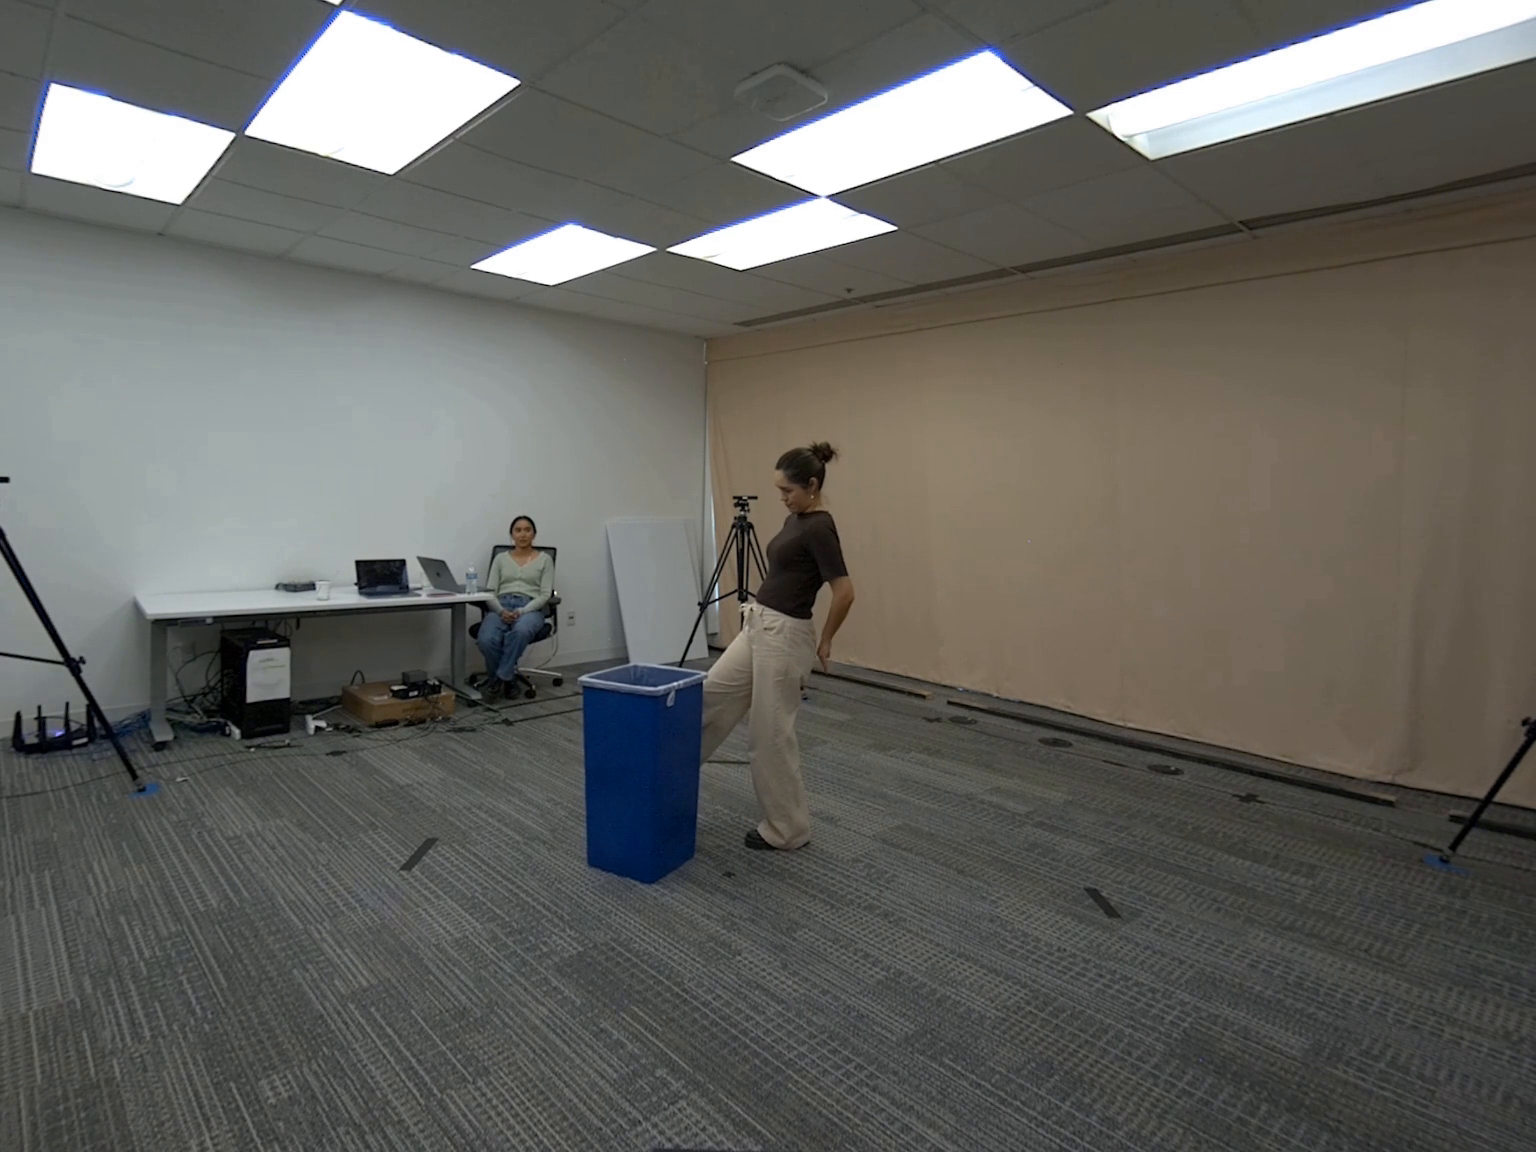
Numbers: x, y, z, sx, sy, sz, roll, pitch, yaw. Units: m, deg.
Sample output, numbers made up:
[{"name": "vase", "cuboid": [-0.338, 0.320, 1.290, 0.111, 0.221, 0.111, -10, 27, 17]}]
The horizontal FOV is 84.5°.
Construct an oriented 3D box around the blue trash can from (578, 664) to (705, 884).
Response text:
[{"name": "blue trash can", "cuboid": [-0.483, 0.728, 3.191, 0.386, 0.711, 0.367, 3, 4, 27]}]
